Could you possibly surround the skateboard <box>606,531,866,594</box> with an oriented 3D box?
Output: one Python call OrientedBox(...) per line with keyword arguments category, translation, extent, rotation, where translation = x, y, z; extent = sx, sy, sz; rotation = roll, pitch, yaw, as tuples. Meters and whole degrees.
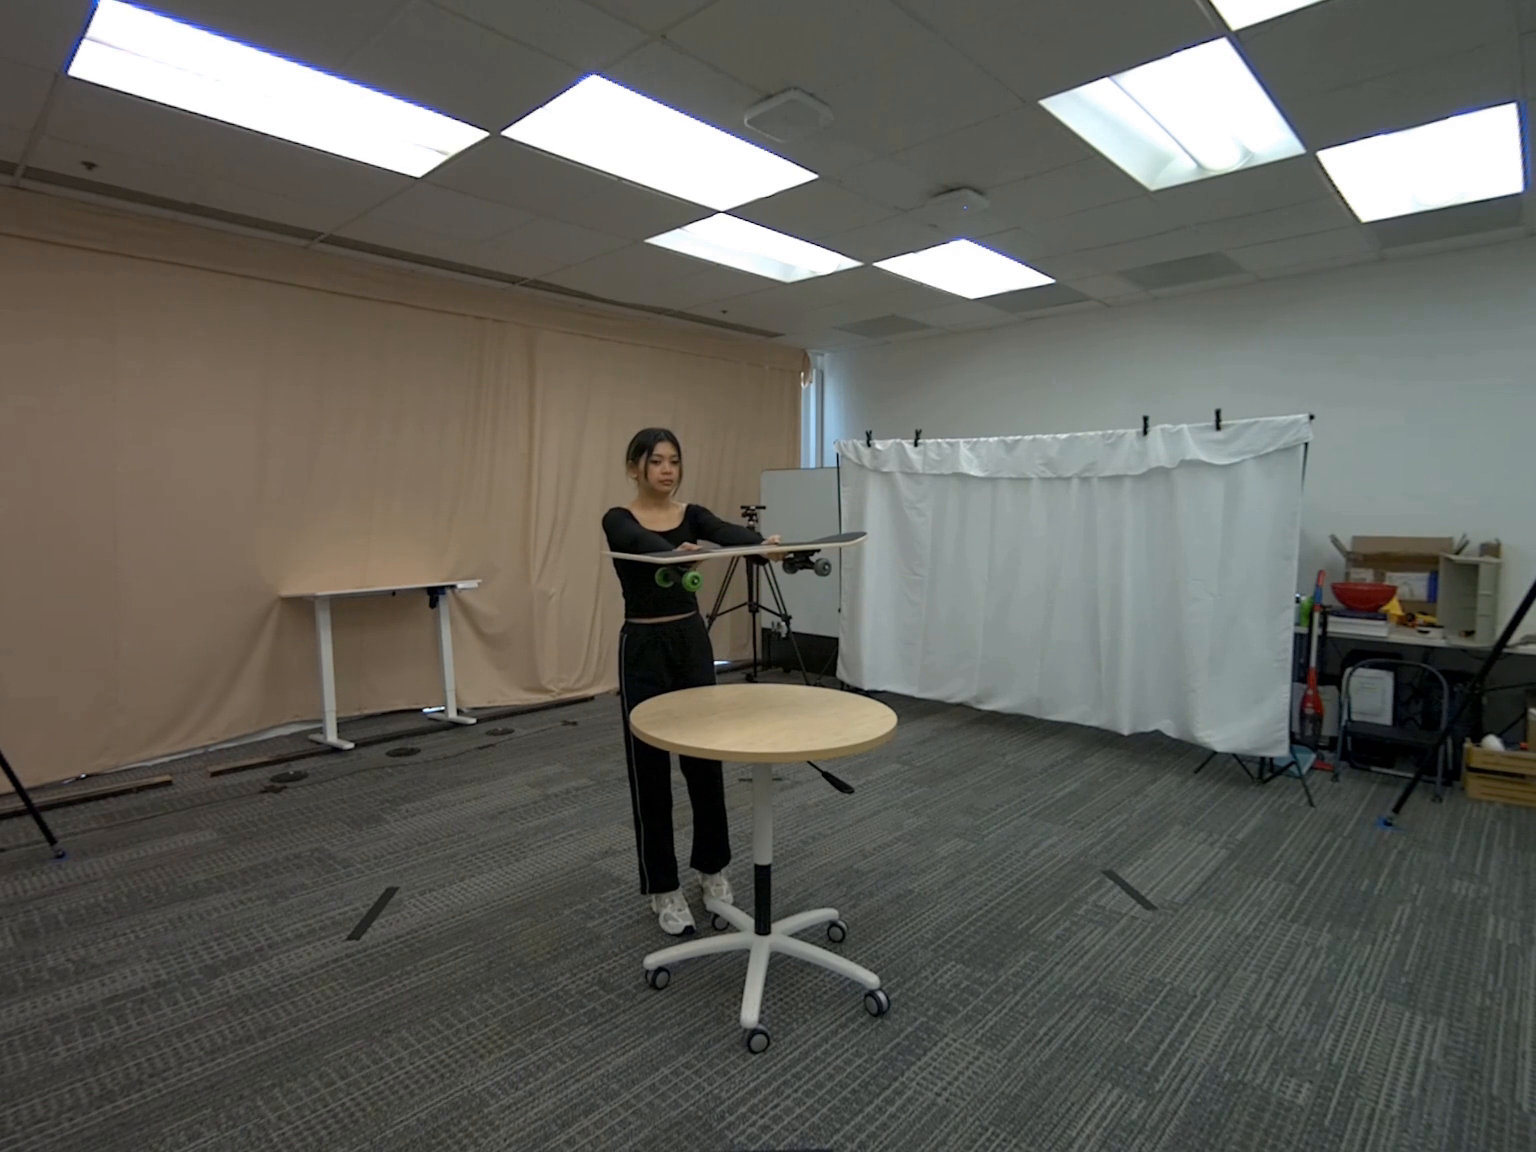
OrientedBox(category="skateboard", translation=(-0.052, -0.039, 2.235), extent=(0.764, 0.110, 0.199), rotation=(-6, 4, -31))
